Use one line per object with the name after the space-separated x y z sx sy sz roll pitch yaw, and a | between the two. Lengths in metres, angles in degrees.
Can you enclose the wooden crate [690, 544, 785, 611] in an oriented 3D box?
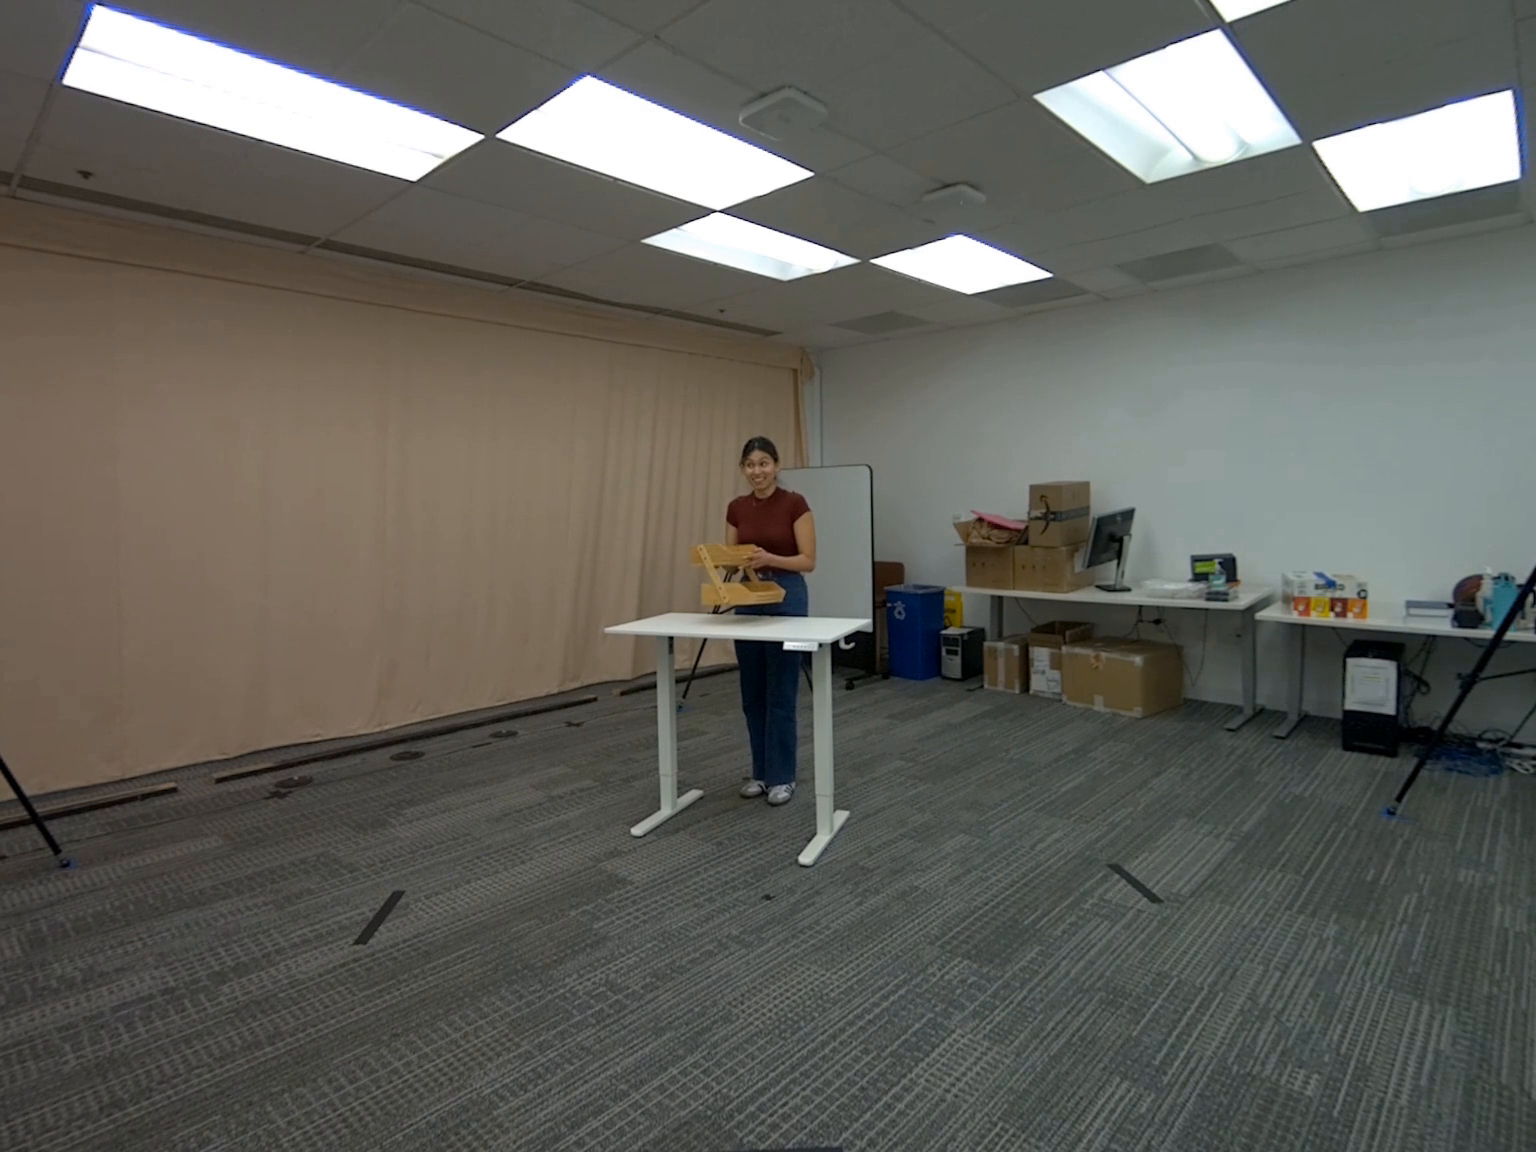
-0.132 -0.013 3.701 0.310 0.274 0.315 -3 -2 31 | wooden crate
